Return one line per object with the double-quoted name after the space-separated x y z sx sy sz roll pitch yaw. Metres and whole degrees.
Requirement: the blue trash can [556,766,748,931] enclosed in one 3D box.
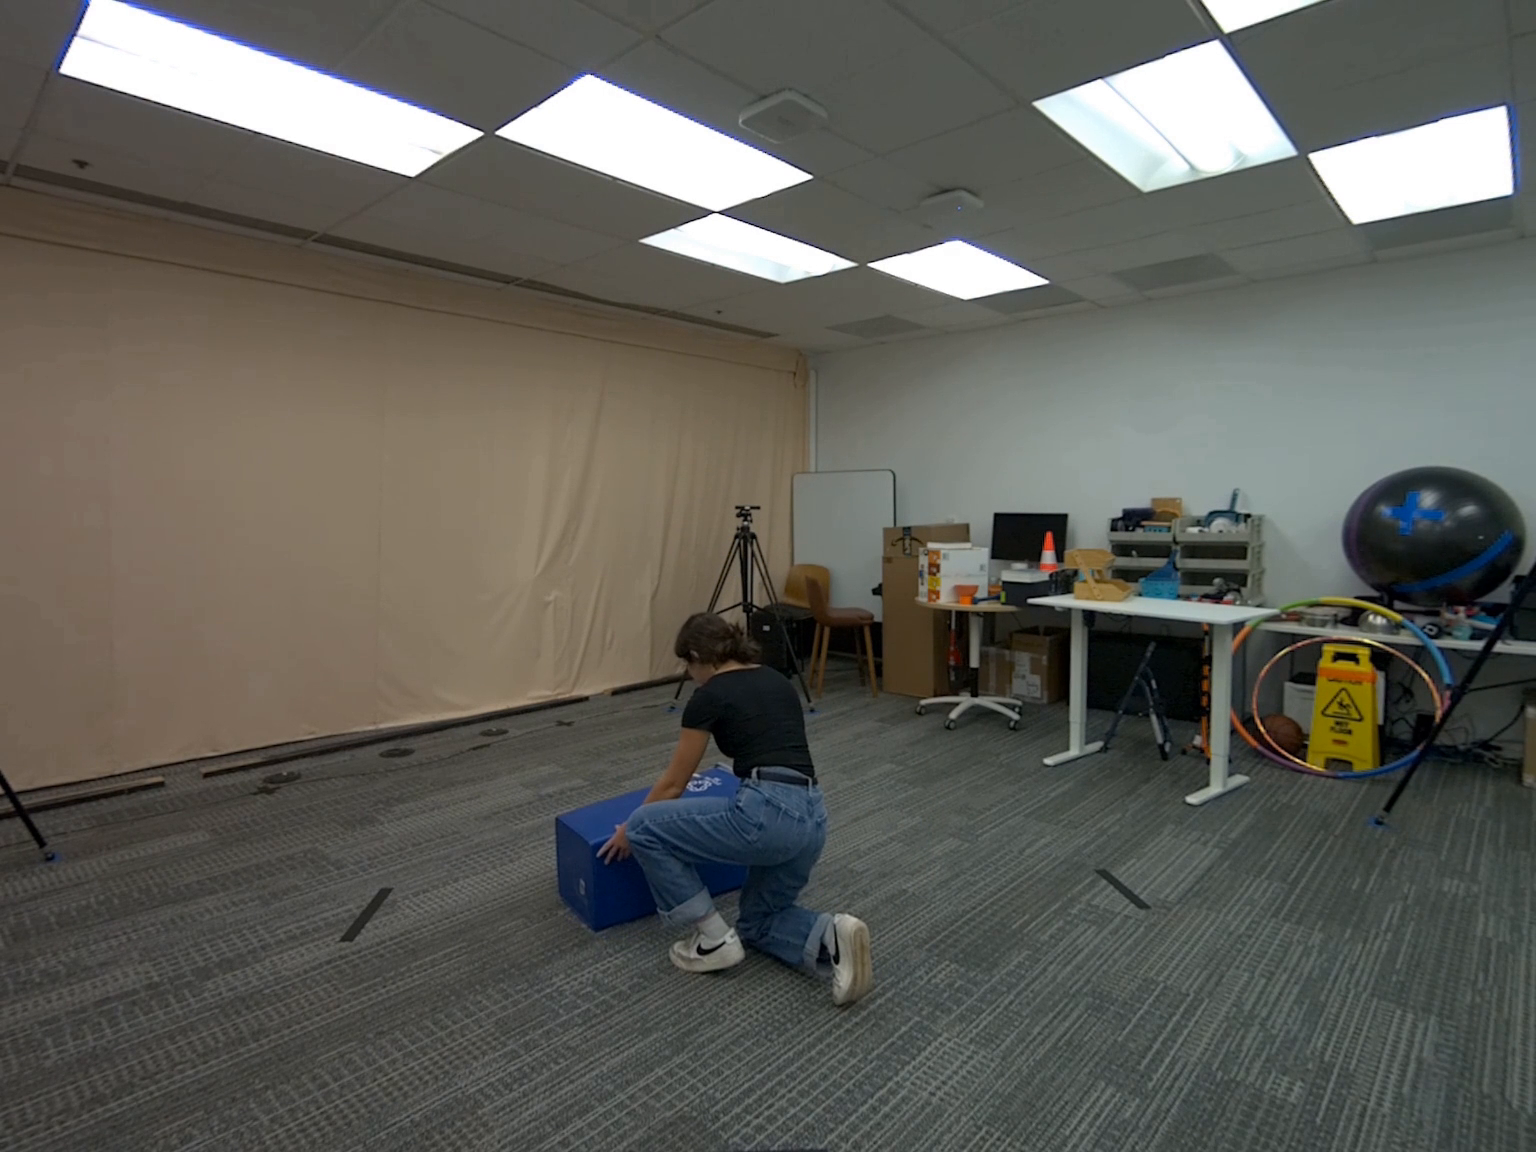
-0.370 0.975 3.046 0.694 0.376 0.386 -7 7 -34 "blue trash can"
